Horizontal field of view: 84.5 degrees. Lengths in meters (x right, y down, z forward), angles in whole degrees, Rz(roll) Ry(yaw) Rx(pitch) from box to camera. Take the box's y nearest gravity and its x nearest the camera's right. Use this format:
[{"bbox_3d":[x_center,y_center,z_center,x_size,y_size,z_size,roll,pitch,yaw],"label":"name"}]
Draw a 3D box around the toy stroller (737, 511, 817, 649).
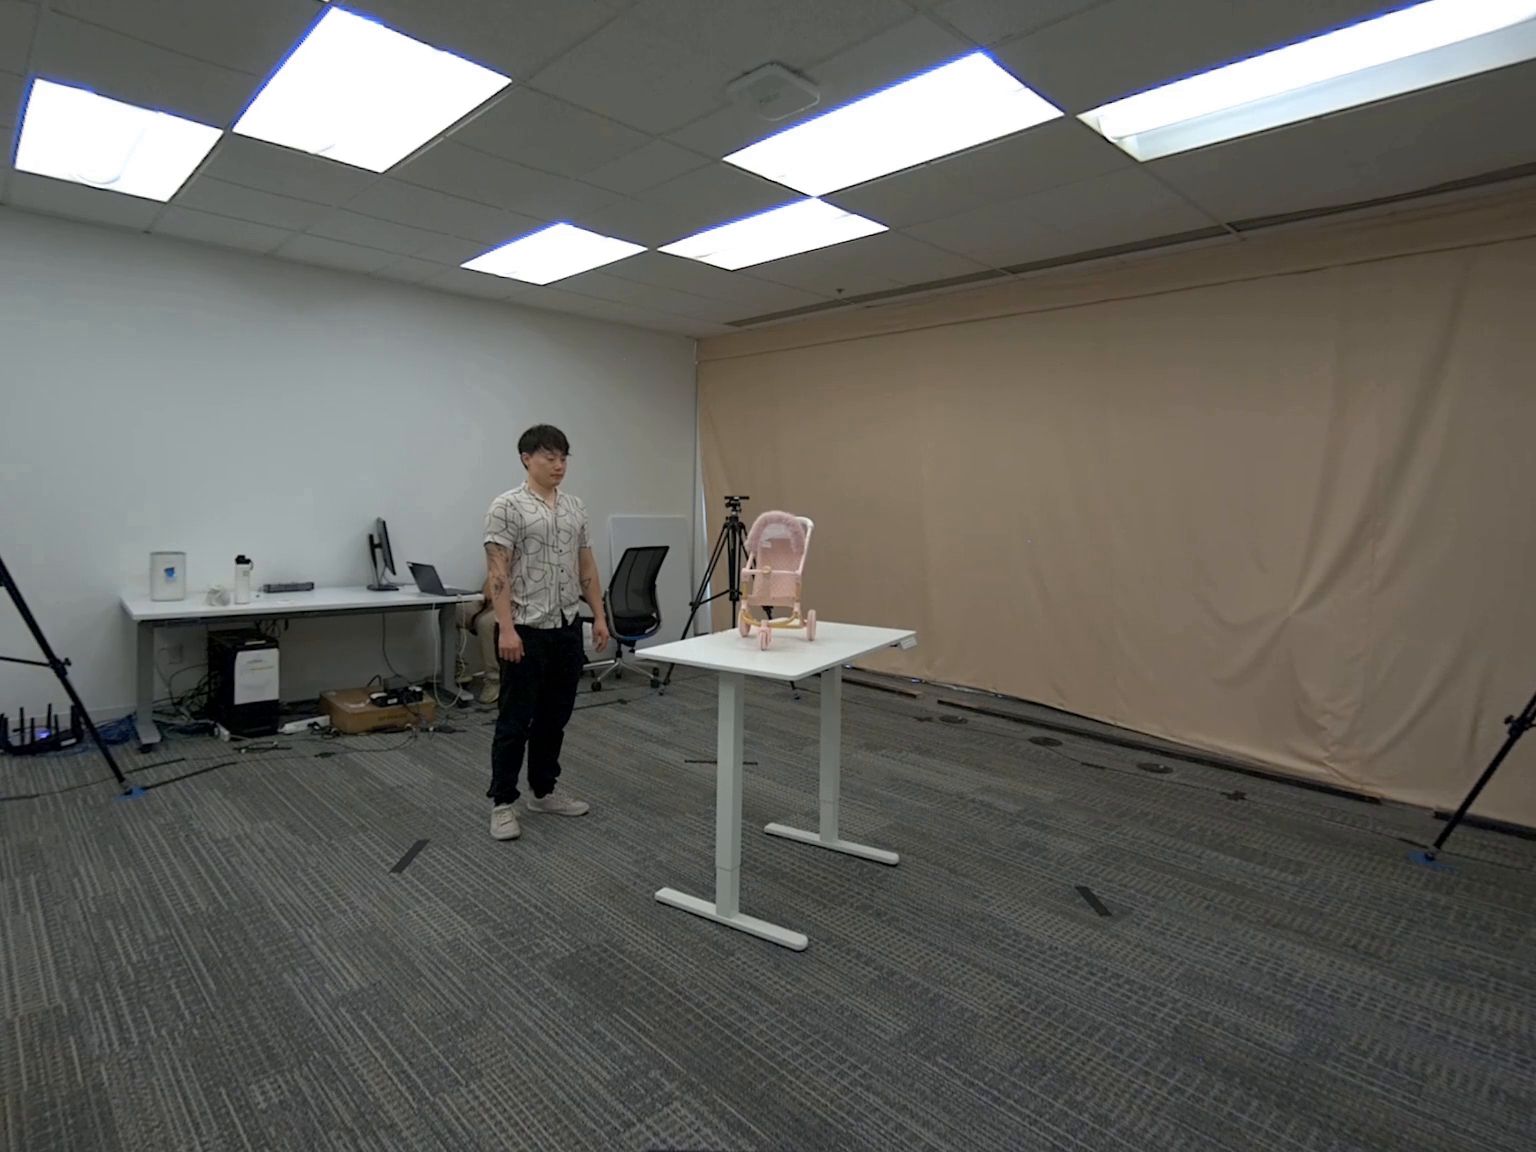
[{"bbox_3d":[0.023,0.012,3.002,0.285,0.539,0.334,2,-11,16],"label":"toy stroller"}]
